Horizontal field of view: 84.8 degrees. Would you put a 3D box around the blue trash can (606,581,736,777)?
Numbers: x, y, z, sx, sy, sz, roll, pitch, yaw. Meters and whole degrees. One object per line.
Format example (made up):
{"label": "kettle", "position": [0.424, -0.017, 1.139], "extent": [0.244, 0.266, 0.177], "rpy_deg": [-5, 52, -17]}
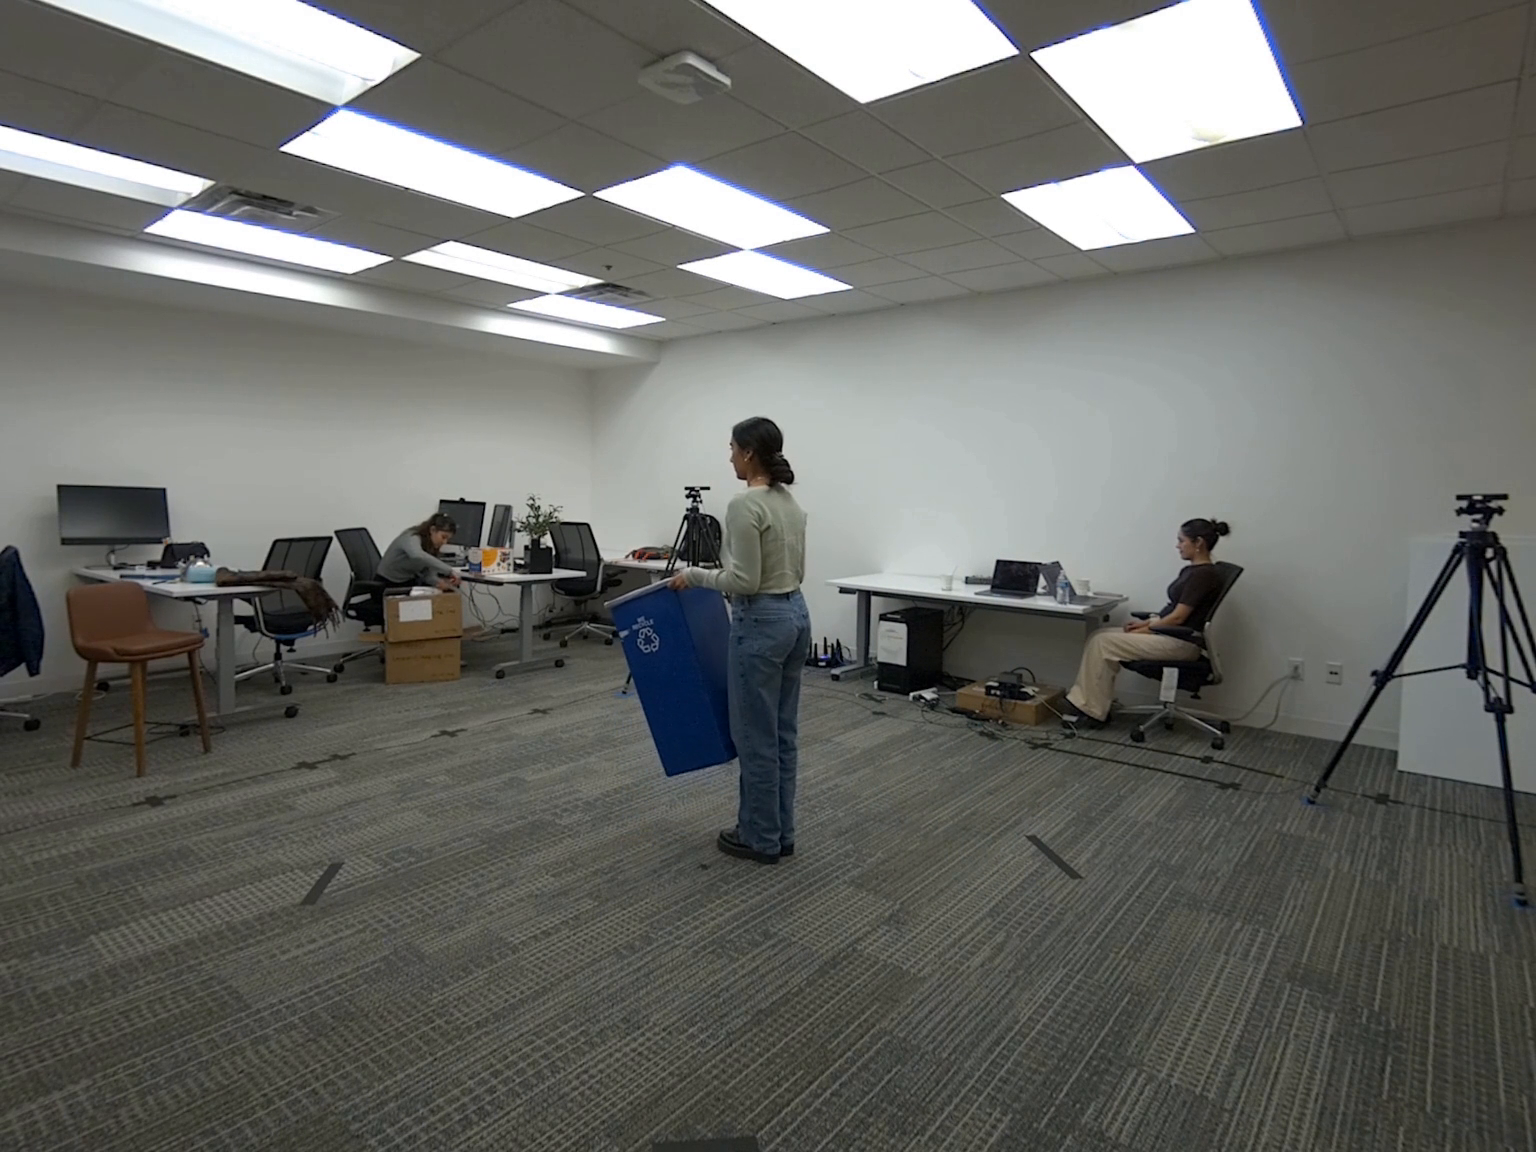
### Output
{"label": "blue trash can", "position": [-0.322, 0.383, 3.382], "extent": [0.380, 0.721, 0.369], "rpy_deg": [-22, -8, 28]}
